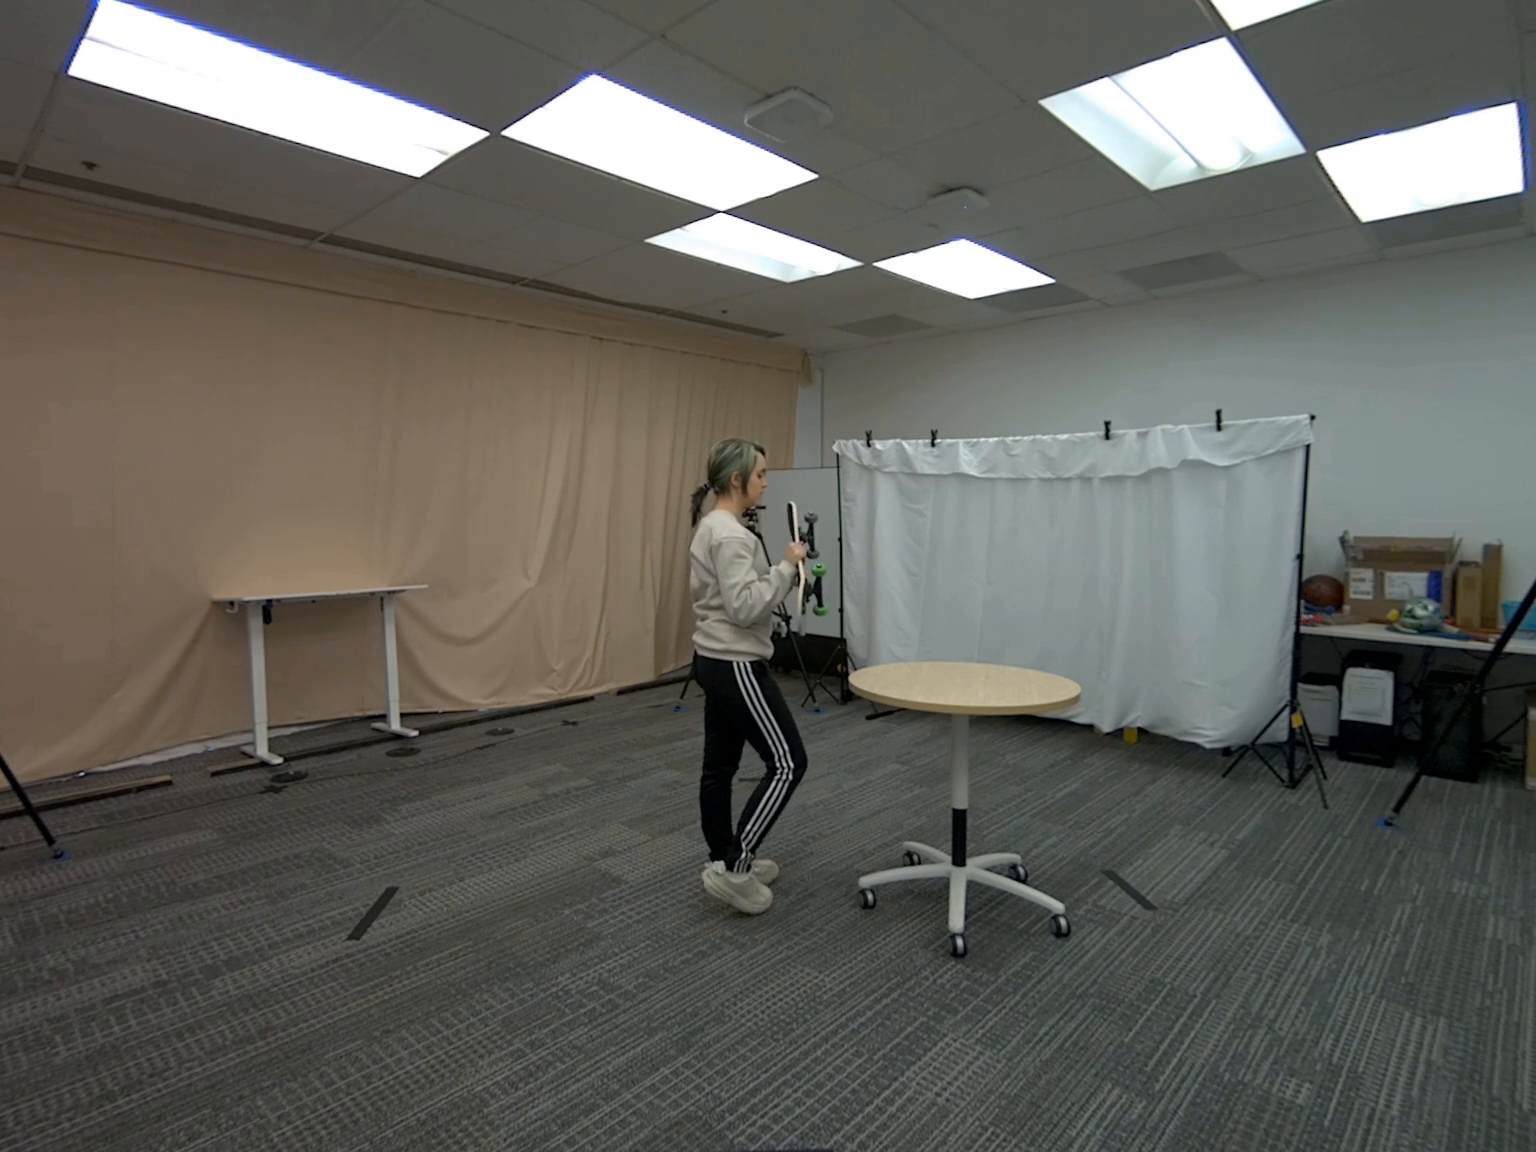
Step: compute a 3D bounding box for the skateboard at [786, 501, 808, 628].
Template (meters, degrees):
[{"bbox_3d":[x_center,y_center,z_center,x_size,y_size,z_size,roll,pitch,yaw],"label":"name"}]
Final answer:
[{"bbox_3d":[0.156,-0.046,2.994,0.110,0.190,0.799,-2,31,-2],"label":"skateboard"}]
